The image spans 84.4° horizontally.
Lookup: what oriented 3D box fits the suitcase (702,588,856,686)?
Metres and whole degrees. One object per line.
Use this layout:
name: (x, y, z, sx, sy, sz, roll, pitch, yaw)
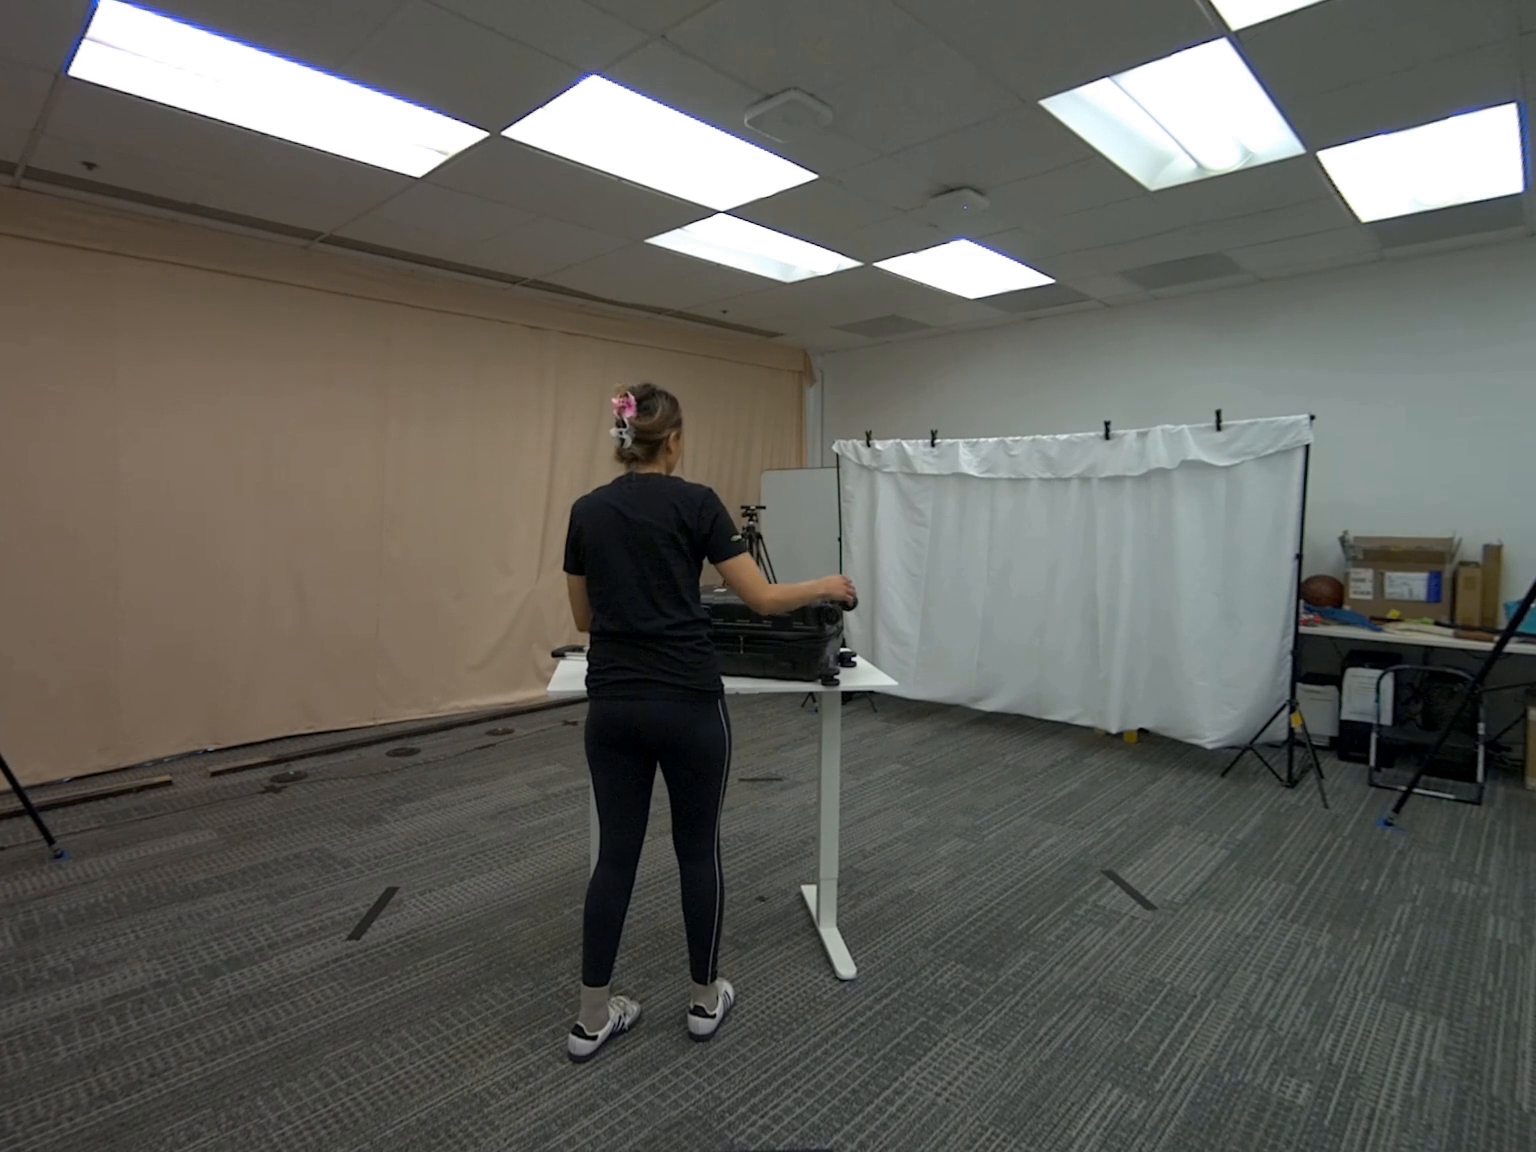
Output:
suitcase: (-0.214, 0.167, 2.707, 0.997, 0.256, 0.378, 2, 7, 17)
